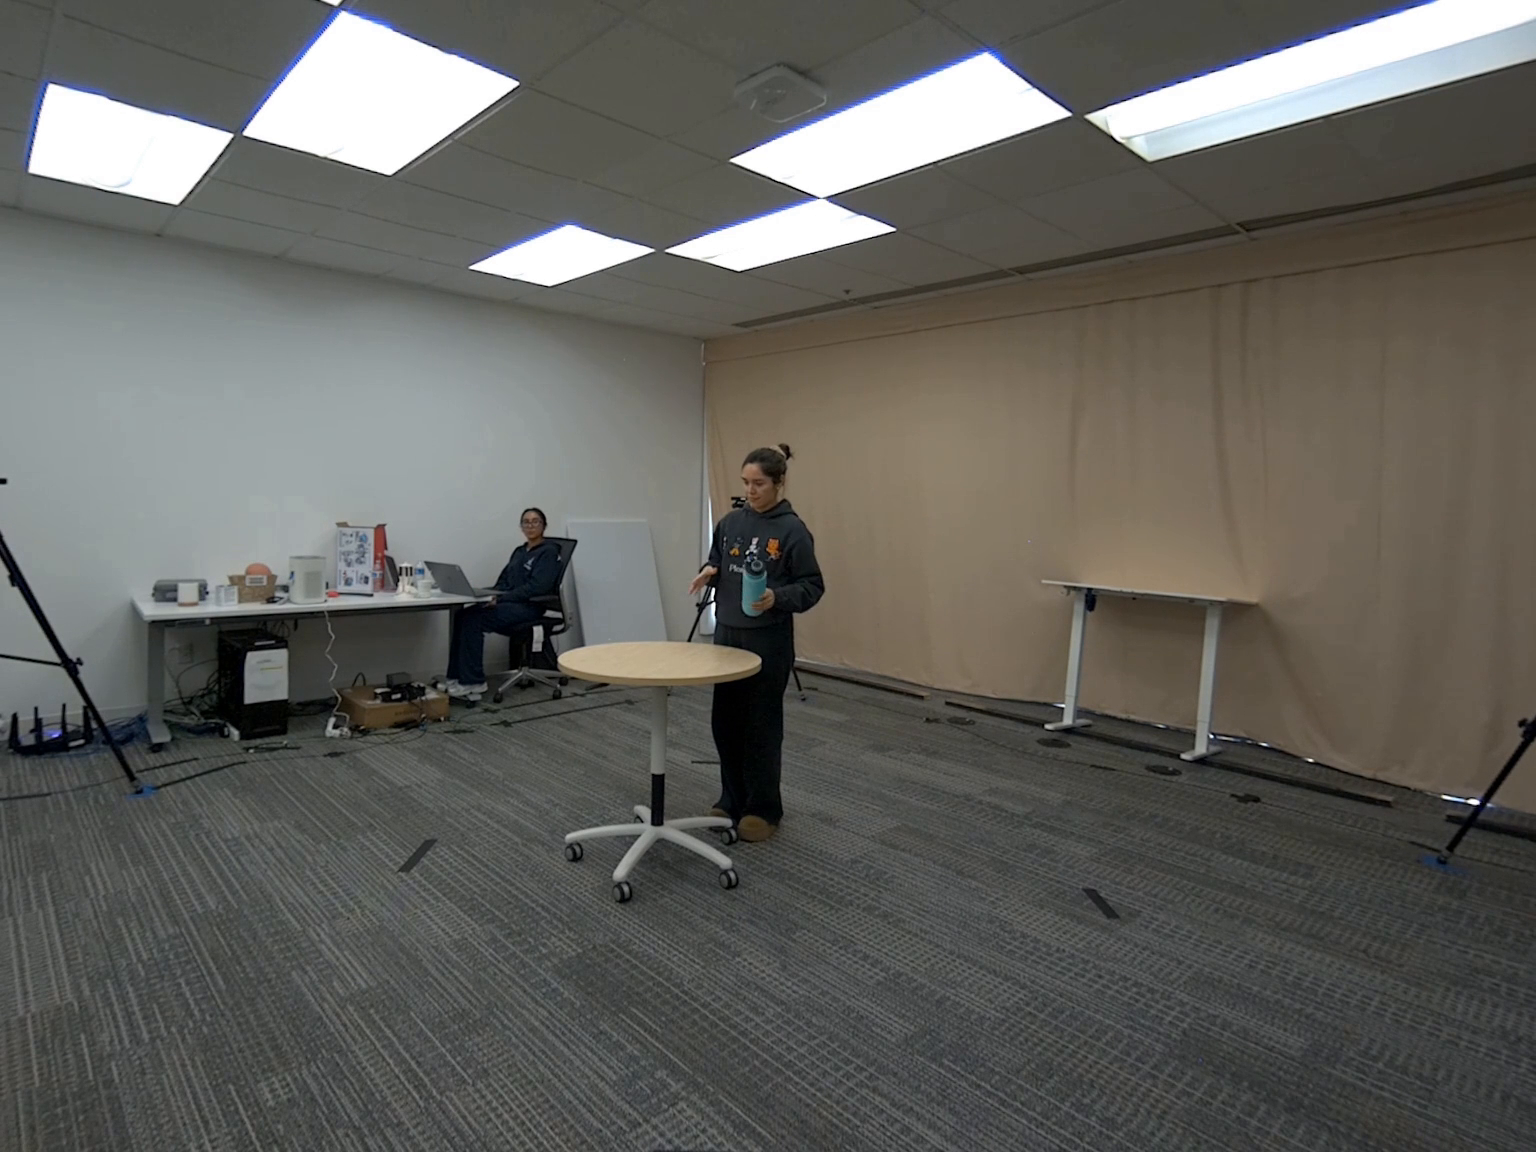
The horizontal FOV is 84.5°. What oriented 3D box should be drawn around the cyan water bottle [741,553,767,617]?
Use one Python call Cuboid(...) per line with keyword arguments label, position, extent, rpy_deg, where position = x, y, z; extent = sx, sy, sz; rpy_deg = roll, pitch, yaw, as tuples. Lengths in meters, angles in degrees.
Cuboid(label="cyan water bottle", position=(-0.083, 0.009, 3.238), extent=(0.092, 0.277, 0.094), rpy_deg=(0, 48, -1))
